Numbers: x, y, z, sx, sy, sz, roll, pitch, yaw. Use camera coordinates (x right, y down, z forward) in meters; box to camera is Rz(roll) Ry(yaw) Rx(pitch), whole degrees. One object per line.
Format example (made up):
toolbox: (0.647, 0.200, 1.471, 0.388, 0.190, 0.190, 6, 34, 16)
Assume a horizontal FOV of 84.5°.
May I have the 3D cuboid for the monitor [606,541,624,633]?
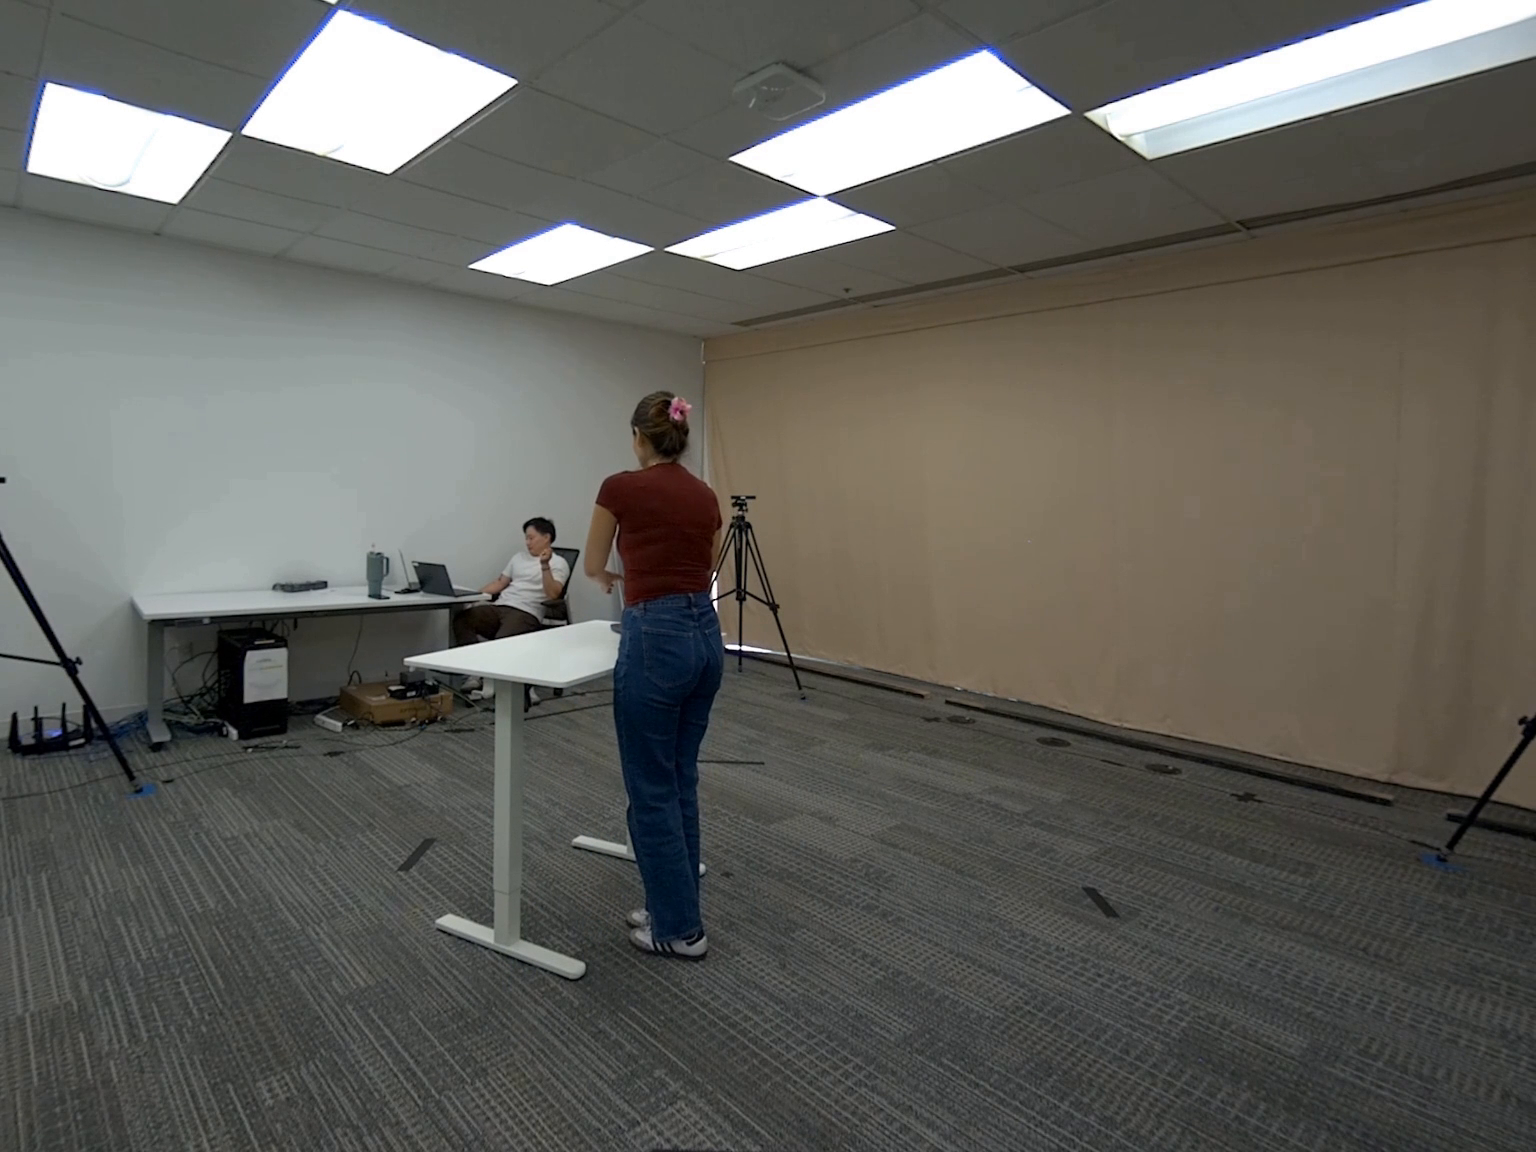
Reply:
monitor: (-0.483, -0.041, 3.136, 0.184, 0.520, 0.550, -4, 6, -26)
